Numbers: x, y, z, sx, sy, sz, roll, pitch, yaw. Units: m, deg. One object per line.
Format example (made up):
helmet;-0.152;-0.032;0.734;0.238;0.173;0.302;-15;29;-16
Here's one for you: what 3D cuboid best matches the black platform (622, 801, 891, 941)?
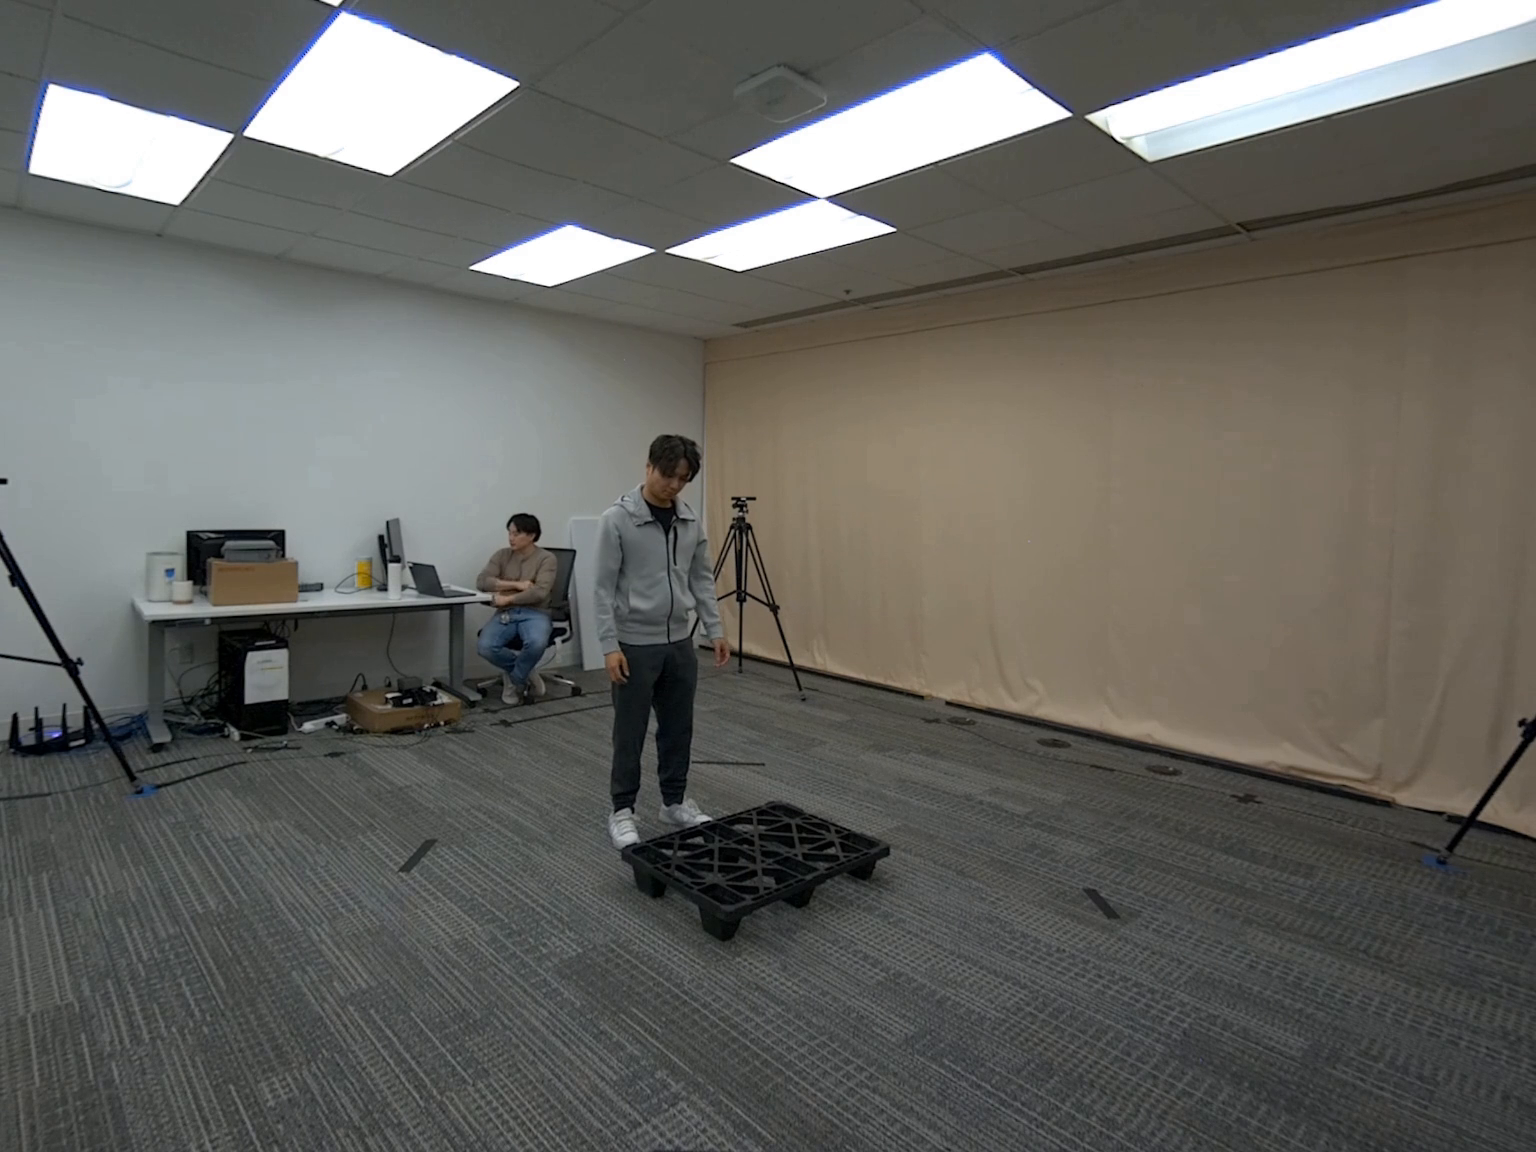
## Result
black platform;-0.050;1.050;3.048;0.787;0.143;0.620;-3;6;-43
